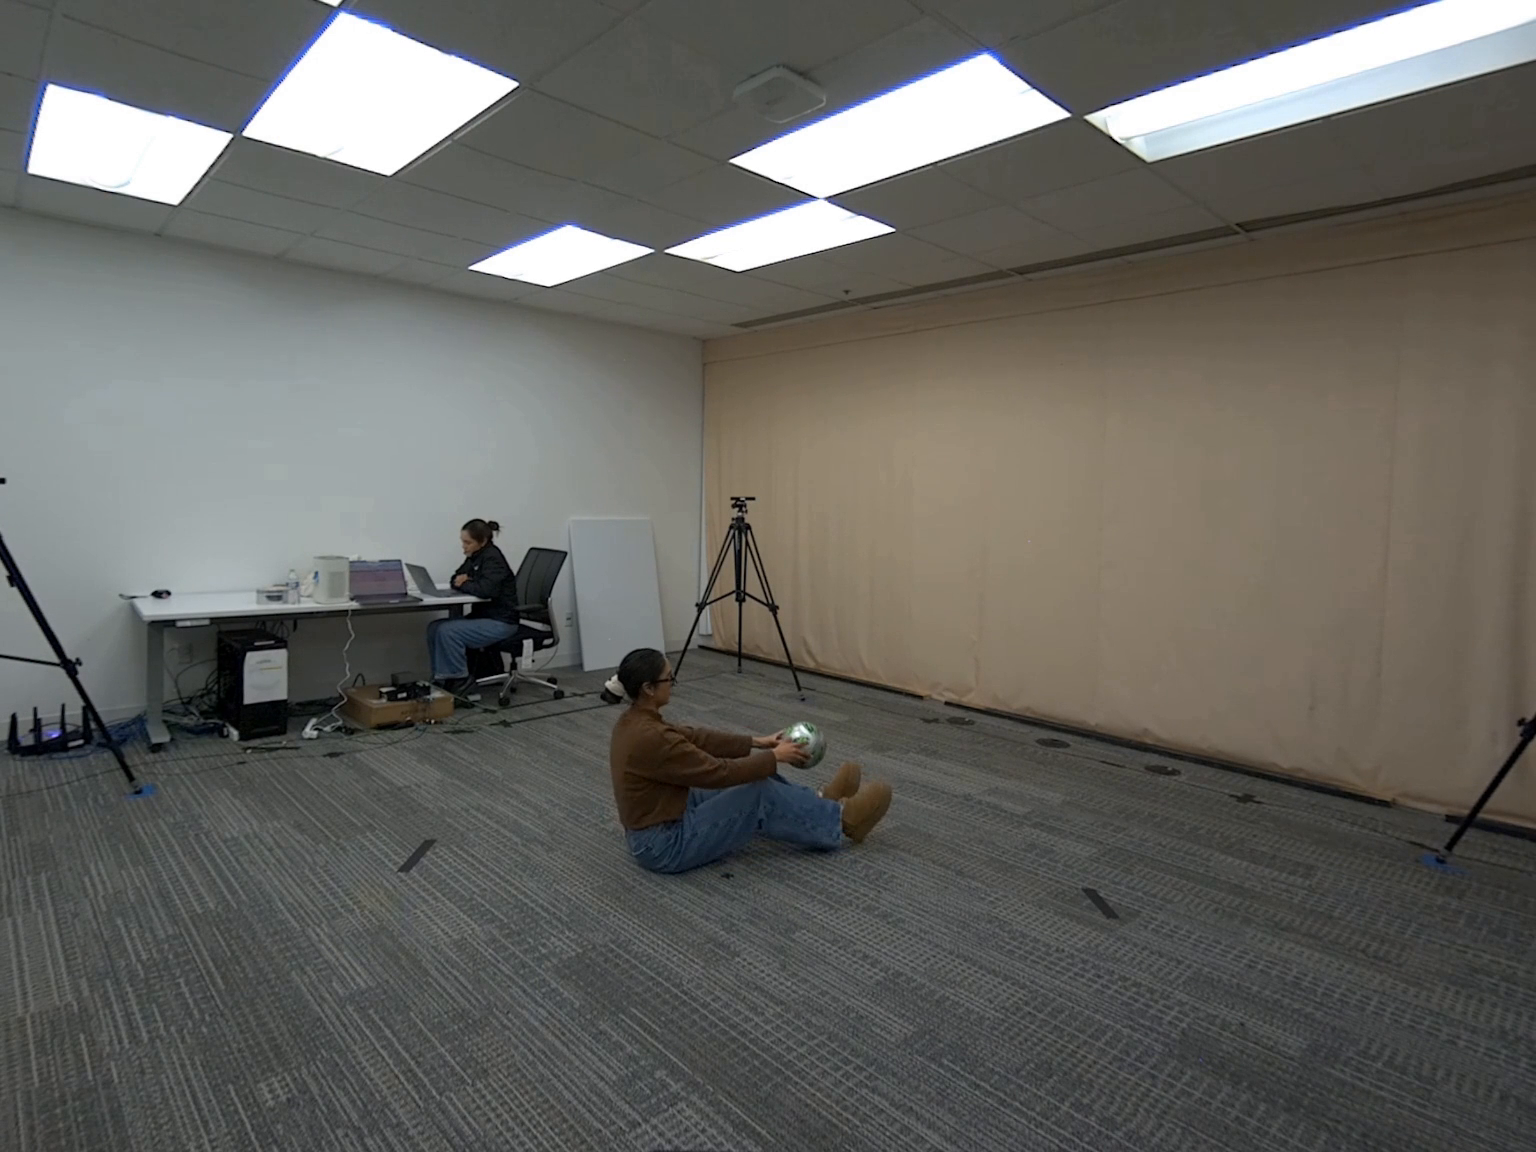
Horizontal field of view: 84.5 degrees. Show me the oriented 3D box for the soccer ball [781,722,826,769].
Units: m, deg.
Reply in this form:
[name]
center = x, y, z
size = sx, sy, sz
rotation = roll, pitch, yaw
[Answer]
[soccer ball]
center = 0.141, 0.691, 3.431
size = 0.187, 0.187, 0.188
rotation = 1, 4, -1
